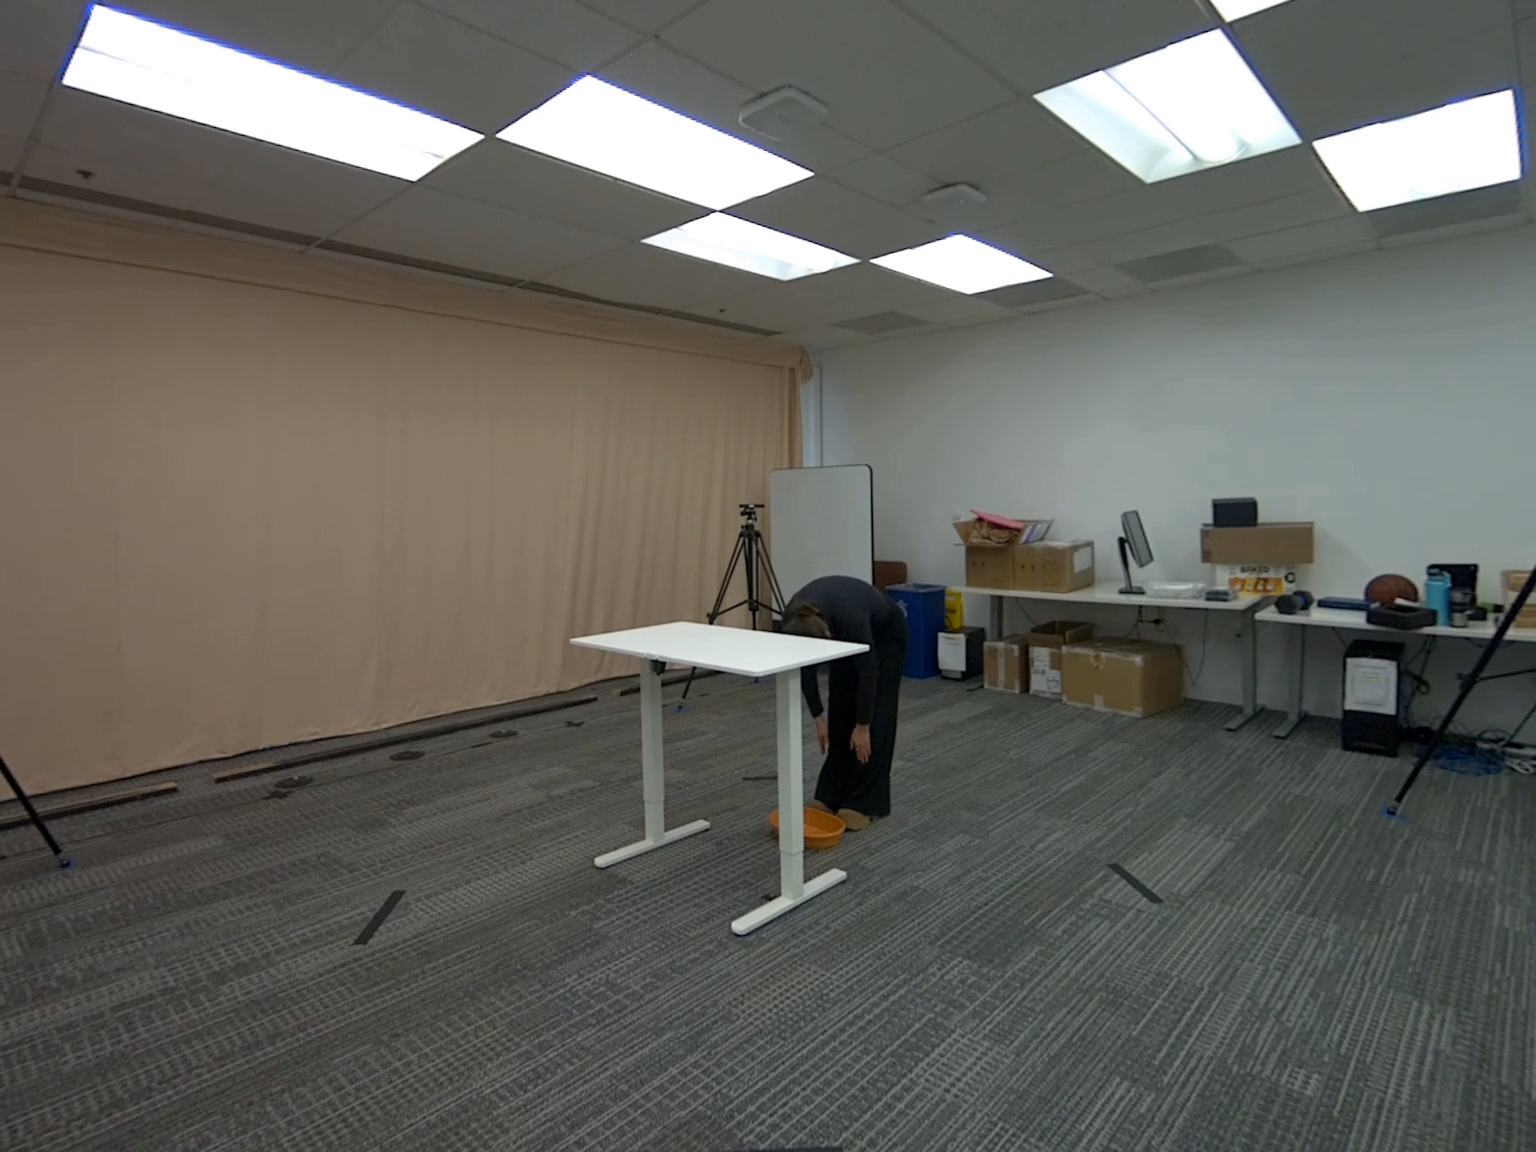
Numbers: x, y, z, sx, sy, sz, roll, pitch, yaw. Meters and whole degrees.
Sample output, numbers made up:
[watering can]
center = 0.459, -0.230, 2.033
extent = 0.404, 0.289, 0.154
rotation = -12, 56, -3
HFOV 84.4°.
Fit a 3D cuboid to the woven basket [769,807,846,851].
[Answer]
[woven basket]
center = 0.157, 1.045, 3.509
extent = 0.245, 0.073, 0.362
rotation = -6, 6, -43
